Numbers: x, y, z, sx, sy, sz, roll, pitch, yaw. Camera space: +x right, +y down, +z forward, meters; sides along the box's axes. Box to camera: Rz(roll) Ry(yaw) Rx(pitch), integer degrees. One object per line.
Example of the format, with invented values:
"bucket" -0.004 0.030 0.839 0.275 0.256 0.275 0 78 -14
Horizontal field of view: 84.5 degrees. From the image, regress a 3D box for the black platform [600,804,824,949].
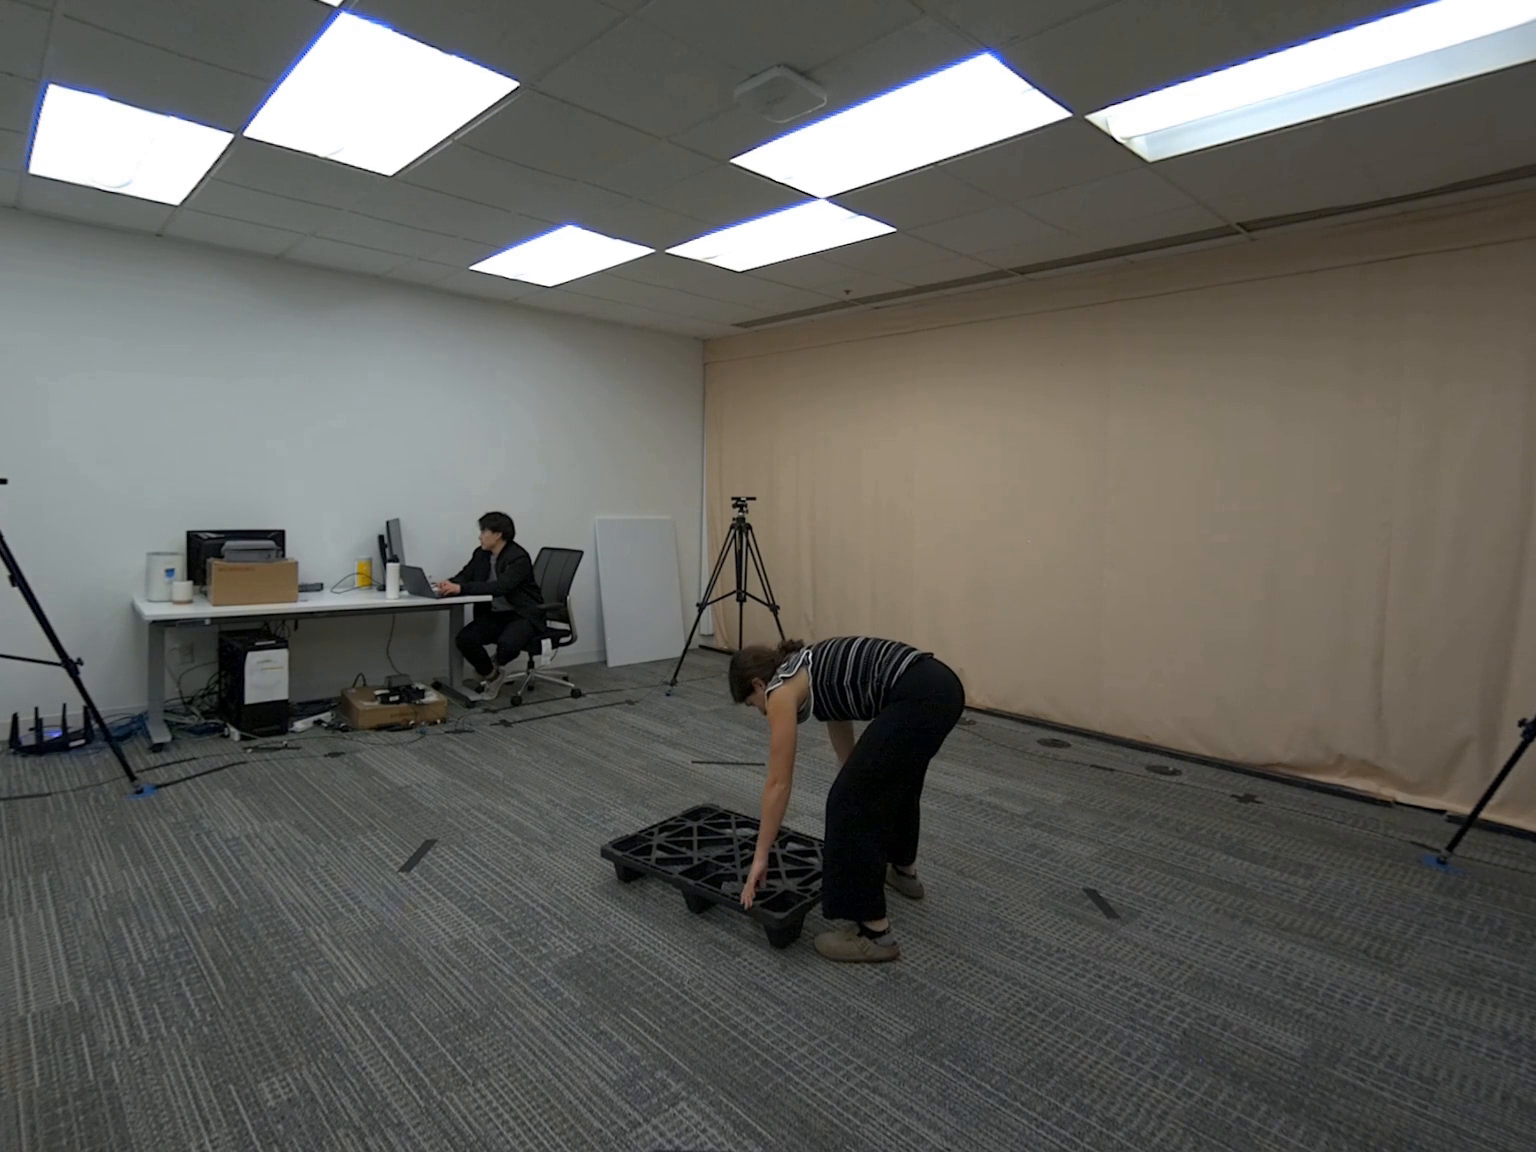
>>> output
"black platform" -0.120 1.049 3.001 0.825 0.143 0.592 5 7 38
